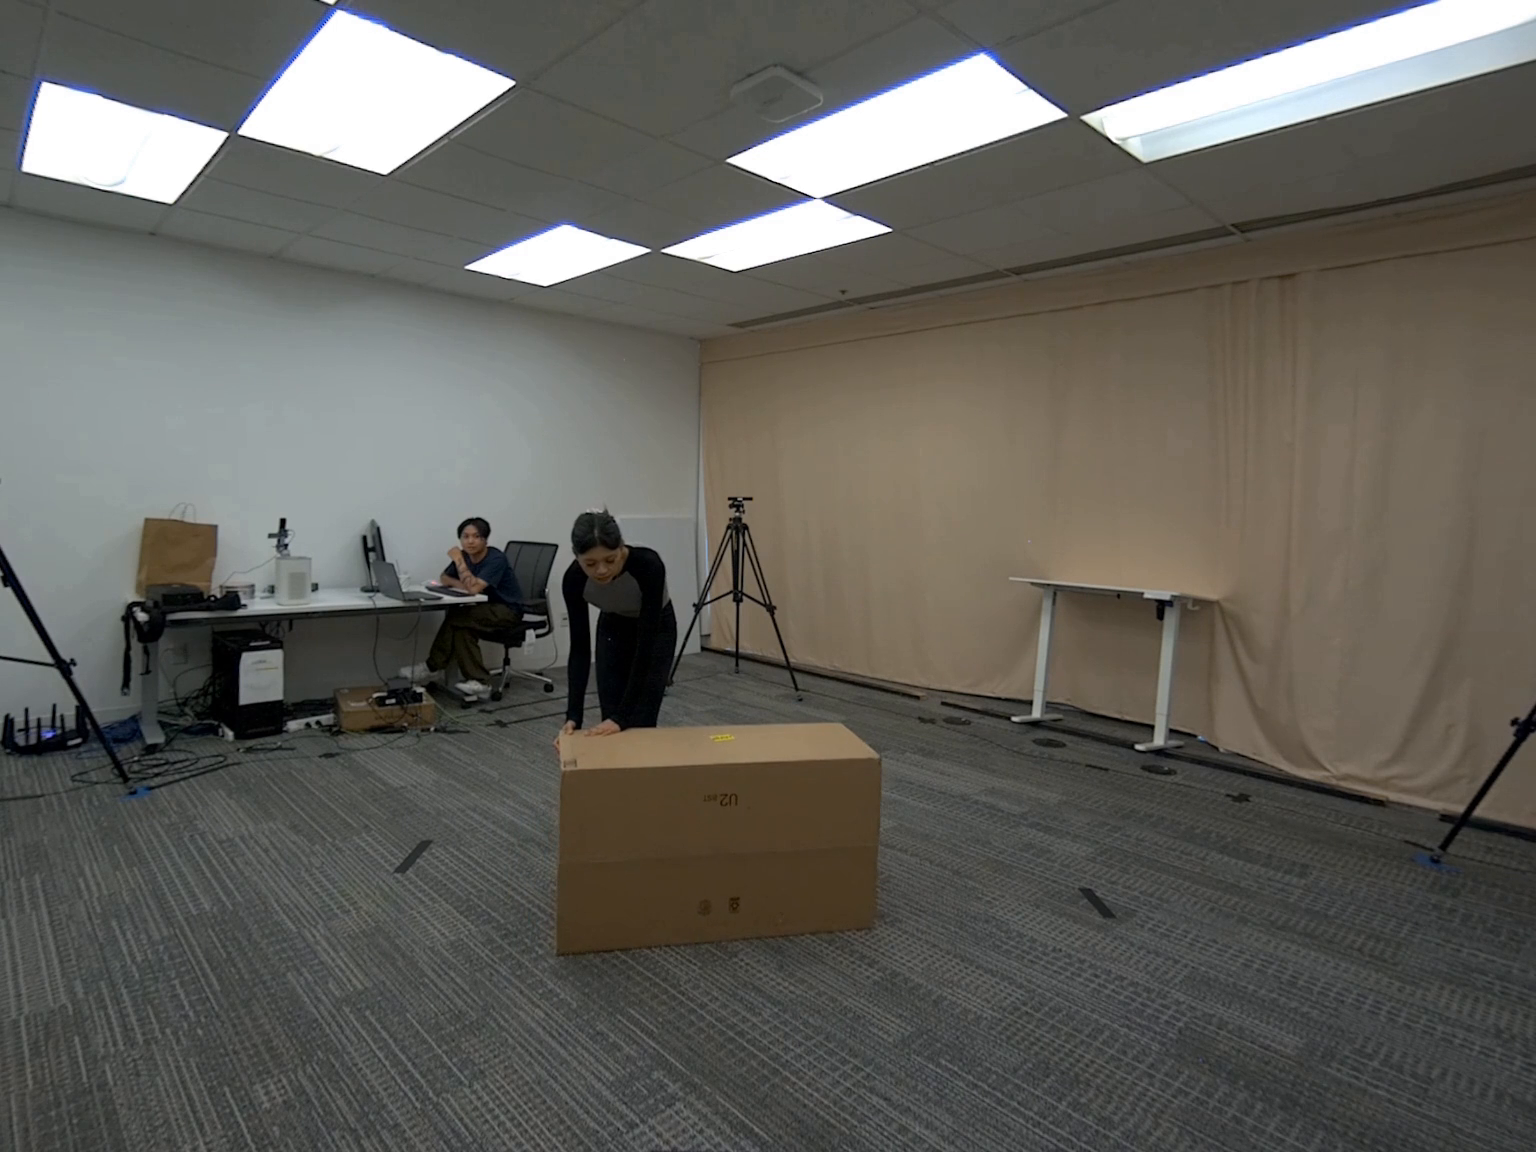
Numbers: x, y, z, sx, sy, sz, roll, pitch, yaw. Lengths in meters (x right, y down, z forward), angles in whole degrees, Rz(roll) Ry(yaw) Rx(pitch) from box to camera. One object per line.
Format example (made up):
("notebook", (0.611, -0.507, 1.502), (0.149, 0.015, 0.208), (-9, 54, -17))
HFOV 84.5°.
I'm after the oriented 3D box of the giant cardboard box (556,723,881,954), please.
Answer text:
("giant cardboard box", (-0.183, 0.843, 2.824), (1.016, 0.583, 0.452), (0, 3, -13))
